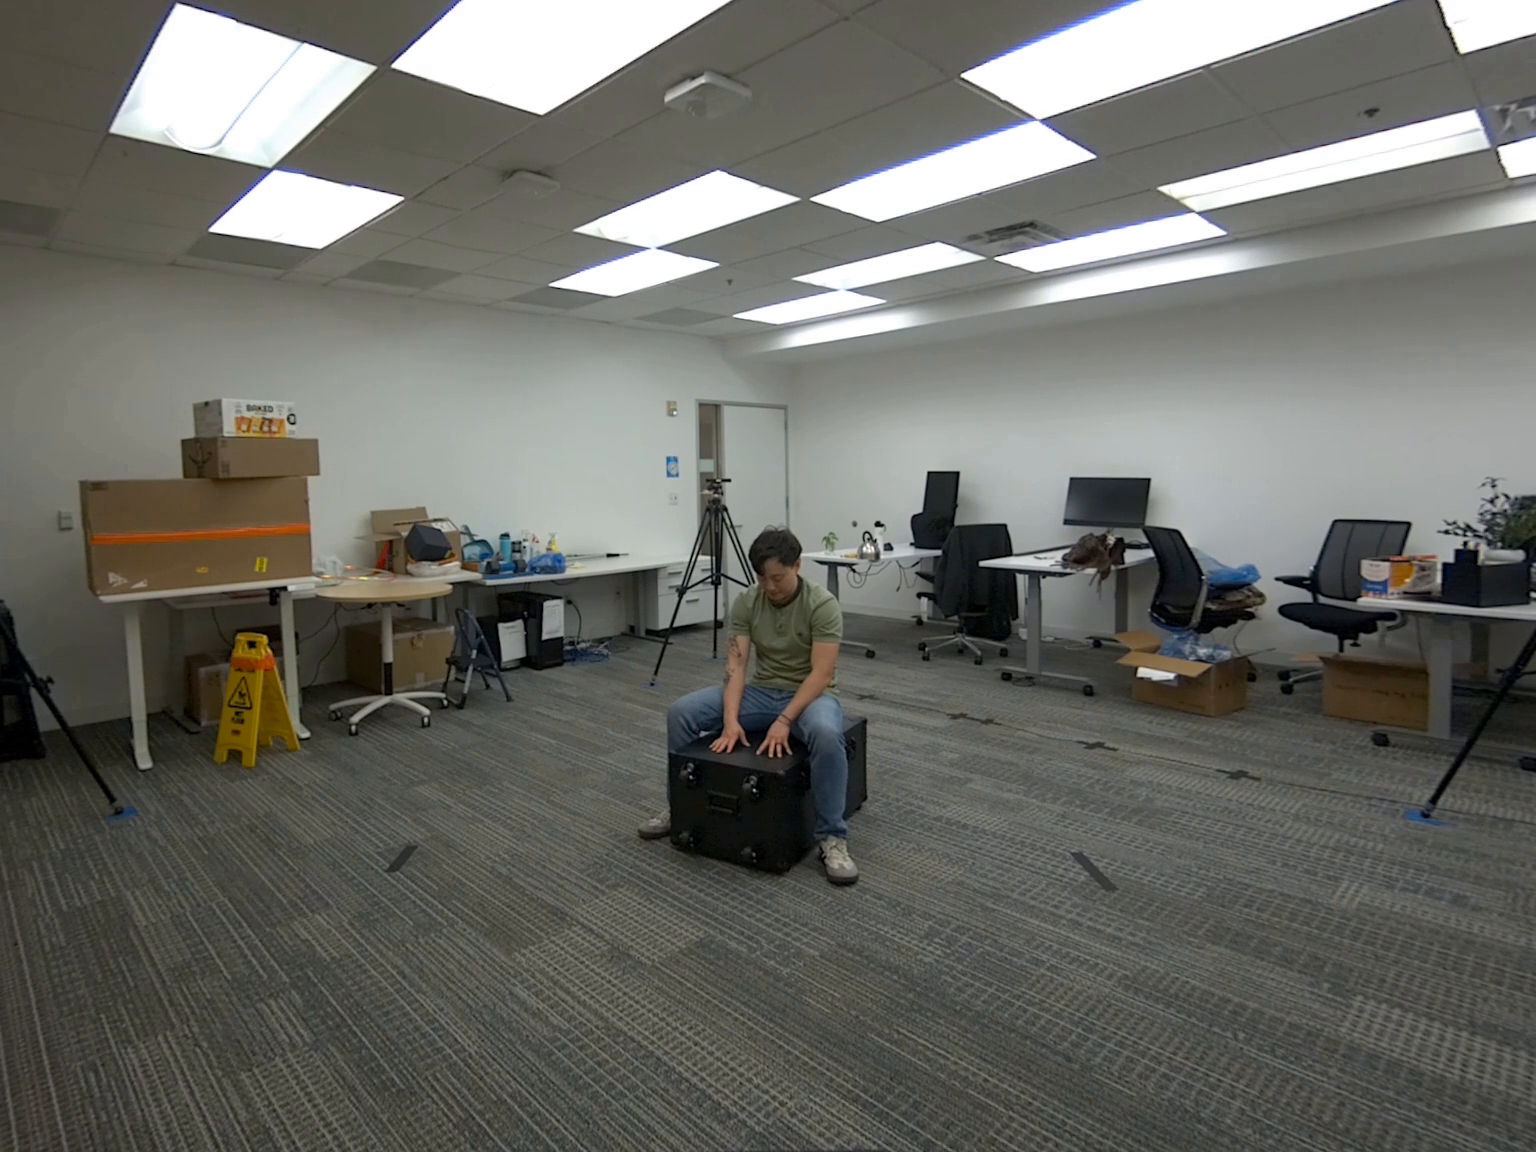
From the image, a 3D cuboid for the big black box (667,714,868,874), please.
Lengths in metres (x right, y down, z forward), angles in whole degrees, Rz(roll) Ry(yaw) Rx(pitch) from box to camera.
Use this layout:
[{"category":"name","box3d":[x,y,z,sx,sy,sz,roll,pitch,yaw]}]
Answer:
[{"category":"big black box","box3d":[0.012,0.822,3.399,0.535,0.395,0.842,3,6,29]}]
